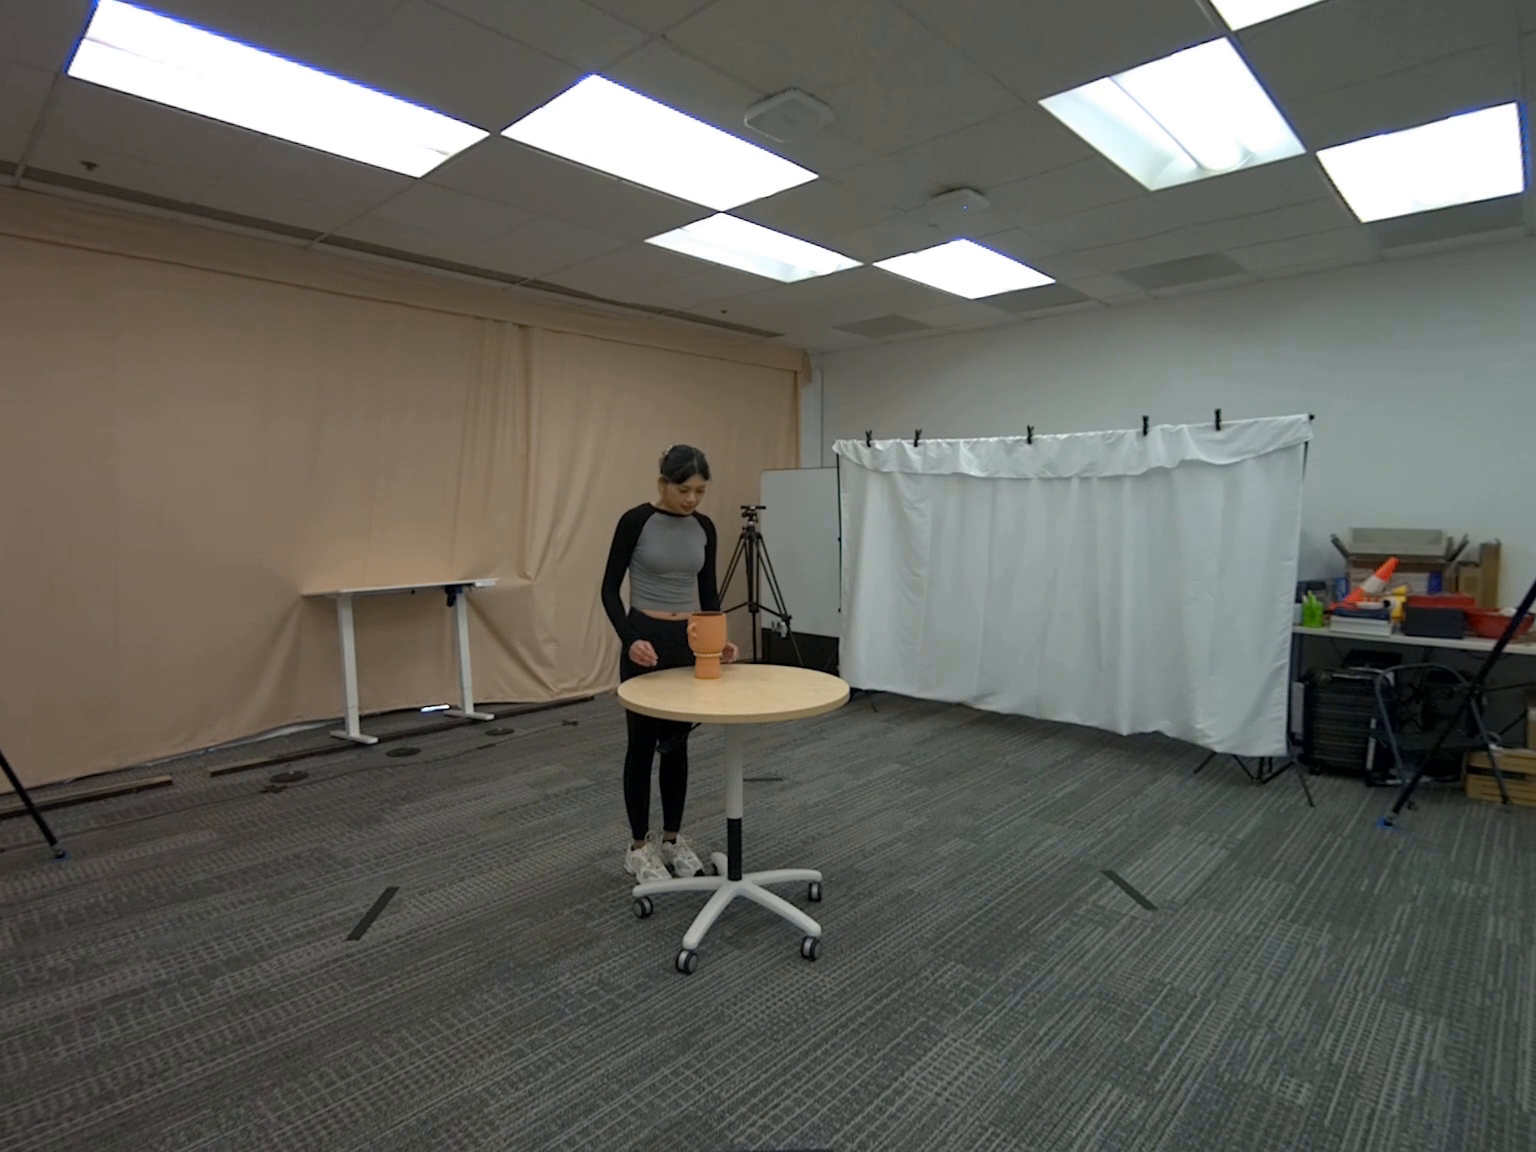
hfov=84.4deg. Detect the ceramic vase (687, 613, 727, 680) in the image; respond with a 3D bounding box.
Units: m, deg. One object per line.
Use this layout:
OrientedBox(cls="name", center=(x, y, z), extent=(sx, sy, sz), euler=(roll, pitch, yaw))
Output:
OrientedBox(cls="ceramic vase", center=(-0.215, 0.246, 2.957), extent=(0.157, 0.219, 0.137), euler=(-3, 5, -13))
